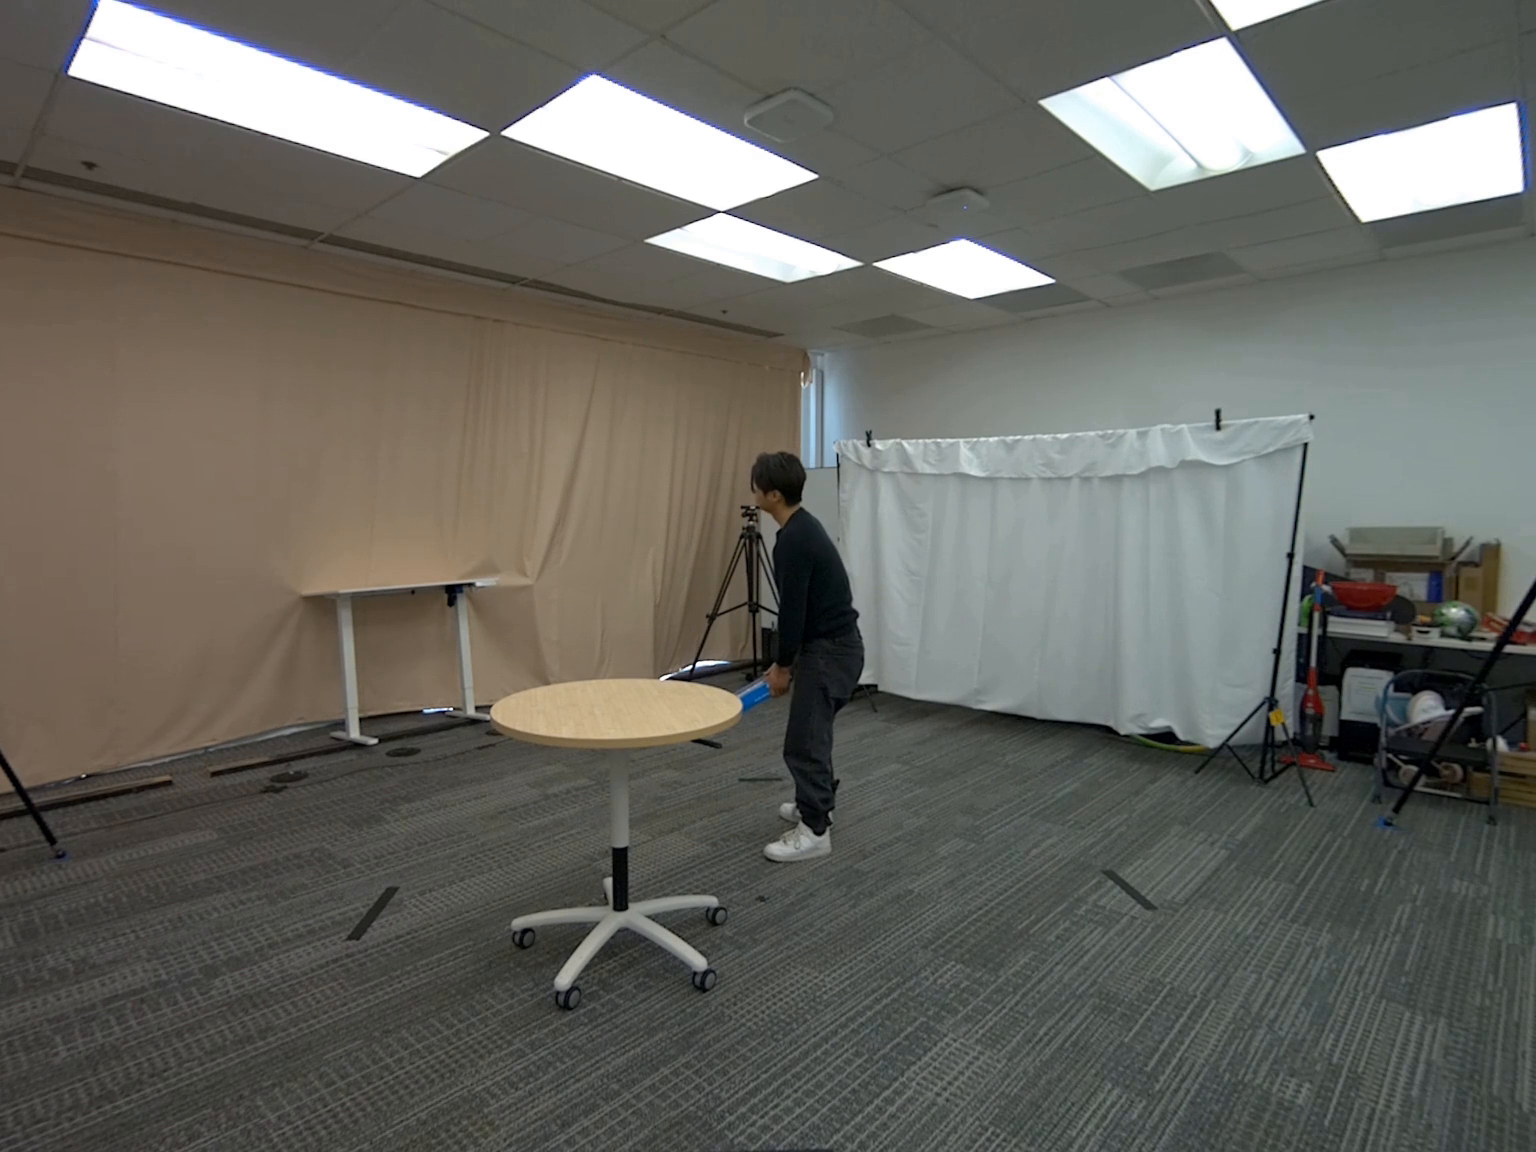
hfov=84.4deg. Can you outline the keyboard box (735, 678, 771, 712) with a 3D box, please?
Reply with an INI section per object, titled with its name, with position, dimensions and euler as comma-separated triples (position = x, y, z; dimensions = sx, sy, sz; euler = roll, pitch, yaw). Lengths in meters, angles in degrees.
[keyboard box]
position = -0.108, 0.521, 3.511
dimensions = 0.439, 0.059, 0.175
euler = -30, 3, 7
